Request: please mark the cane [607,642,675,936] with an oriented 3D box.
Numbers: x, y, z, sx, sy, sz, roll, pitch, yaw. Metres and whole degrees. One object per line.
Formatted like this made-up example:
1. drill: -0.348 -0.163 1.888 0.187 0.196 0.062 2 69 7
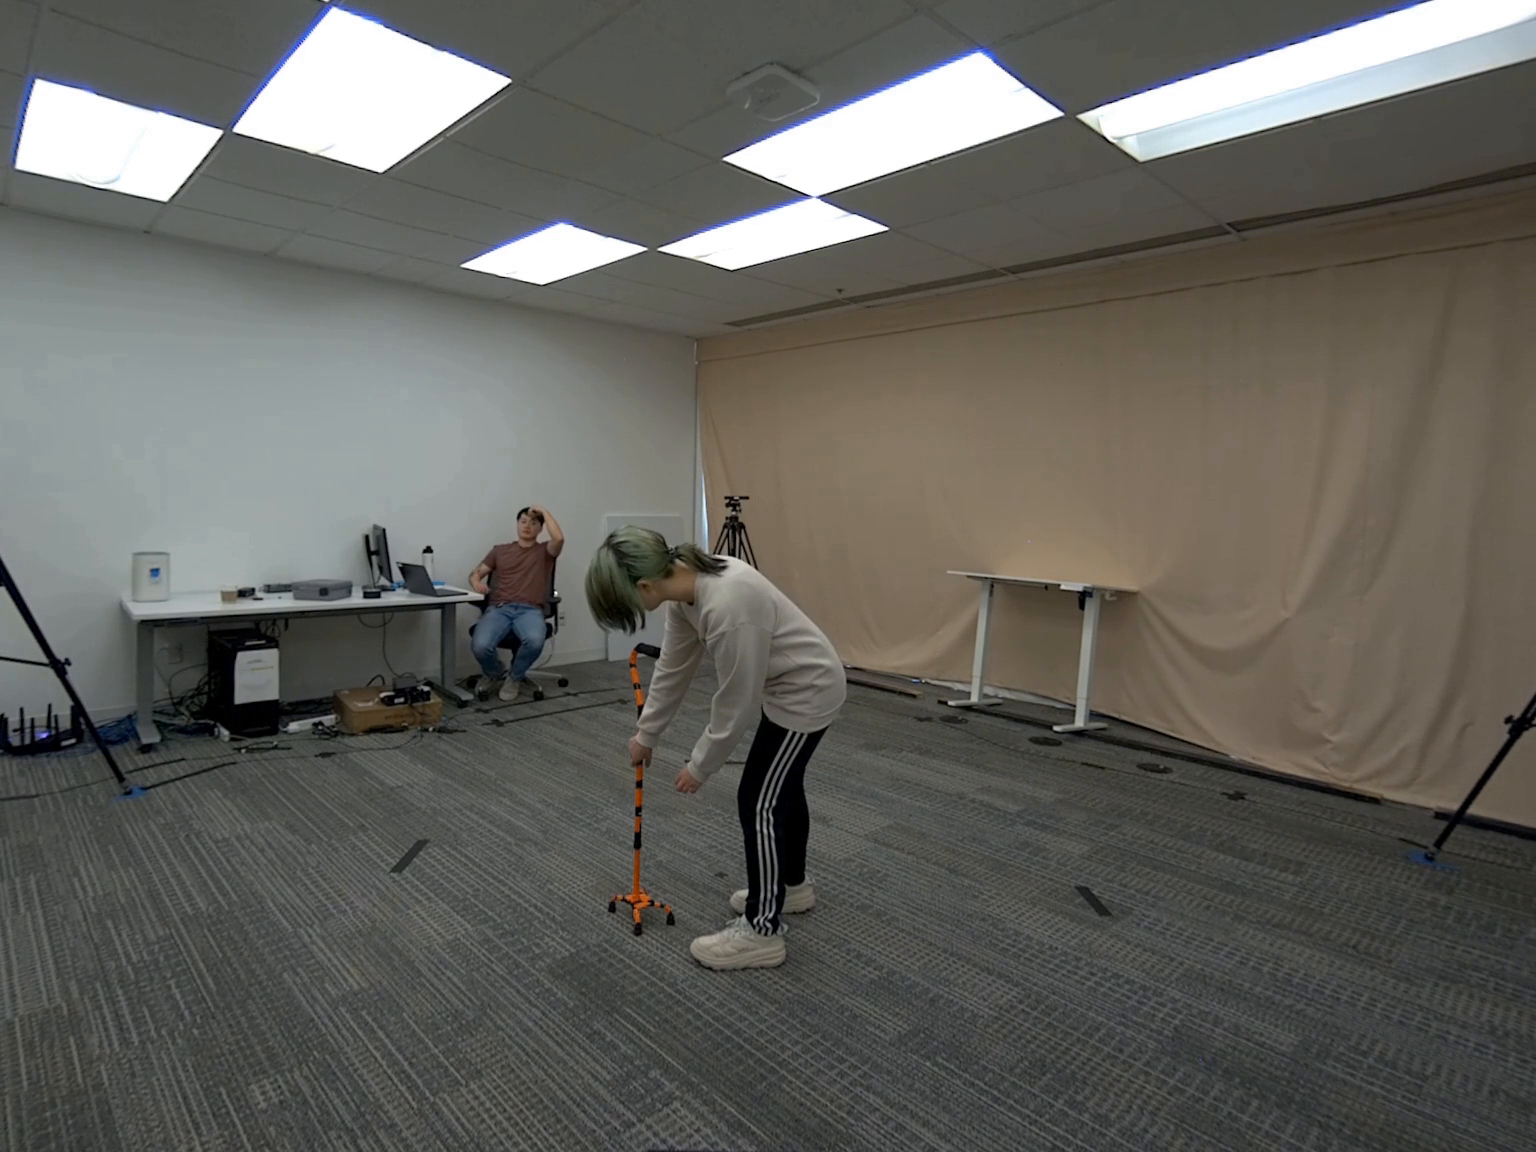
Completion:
1. cane: -0.413 0.672 2.762 0.148 0.906 0.211 0 2 -35
